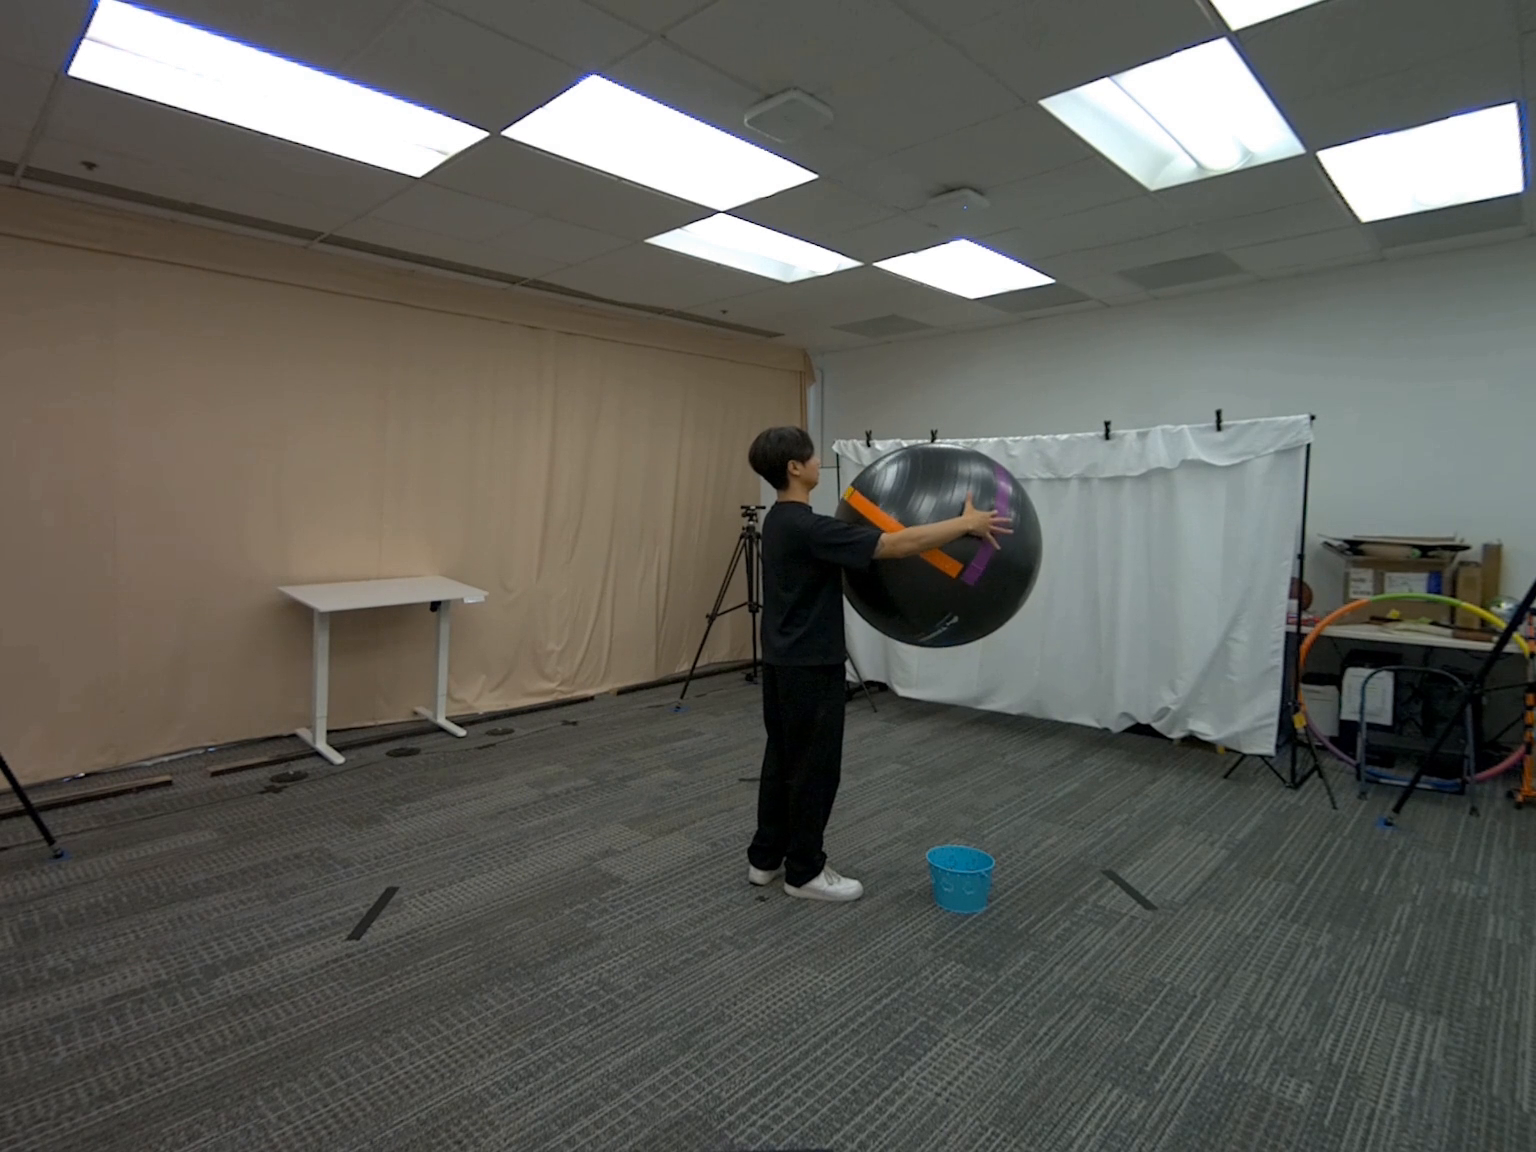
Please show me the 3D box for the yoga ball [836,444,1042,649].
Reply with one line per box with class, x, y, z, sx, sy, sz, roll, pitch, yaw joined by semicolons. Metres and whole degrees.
yoga ball;0.628;-0.113;3.137;0.757;0.756;0.760;0;4;-2
